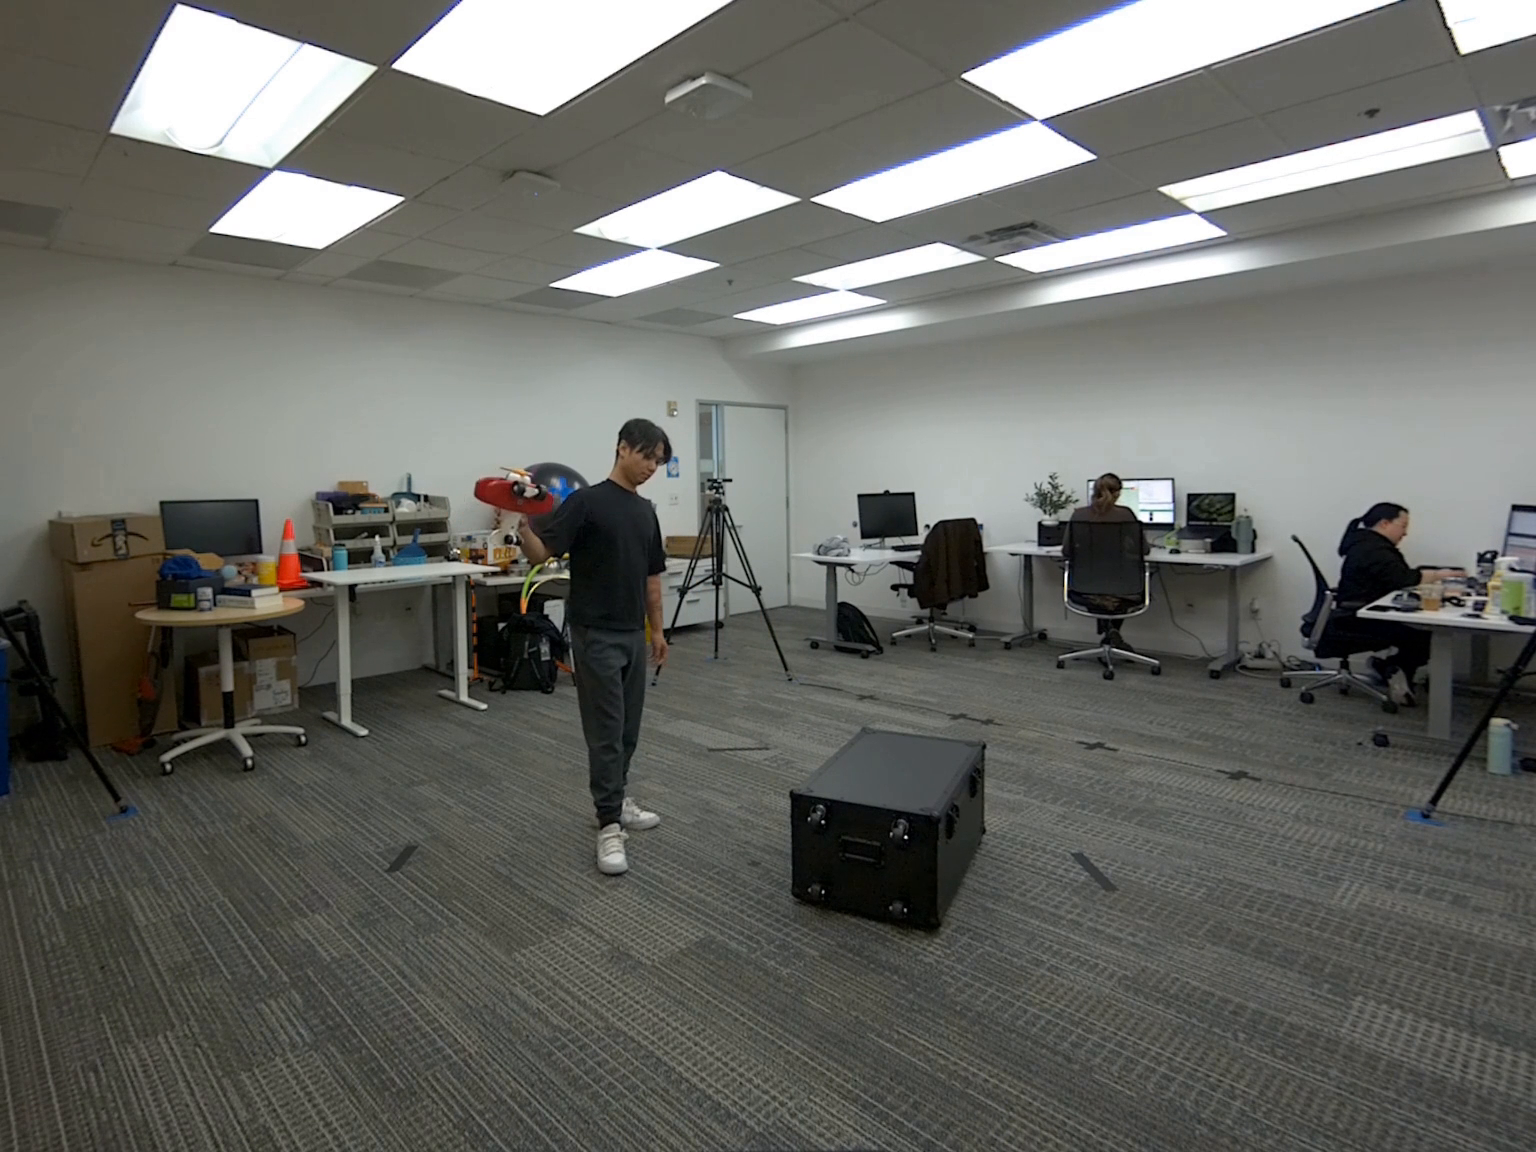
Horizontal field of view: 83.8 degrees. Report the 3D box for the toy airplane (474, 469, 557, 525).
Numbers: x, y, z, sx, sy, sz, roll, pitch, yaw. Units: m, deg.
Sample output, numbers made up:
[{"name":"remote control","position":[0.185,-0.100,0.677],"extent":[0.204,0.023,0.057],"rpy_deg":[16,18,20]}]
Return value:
[{"name":"toy airplane","position":[-0.857,-0.228,2.840],"extent":[0.162,0.259,0.241],"rpy_deg":[36,-11,40]}]
